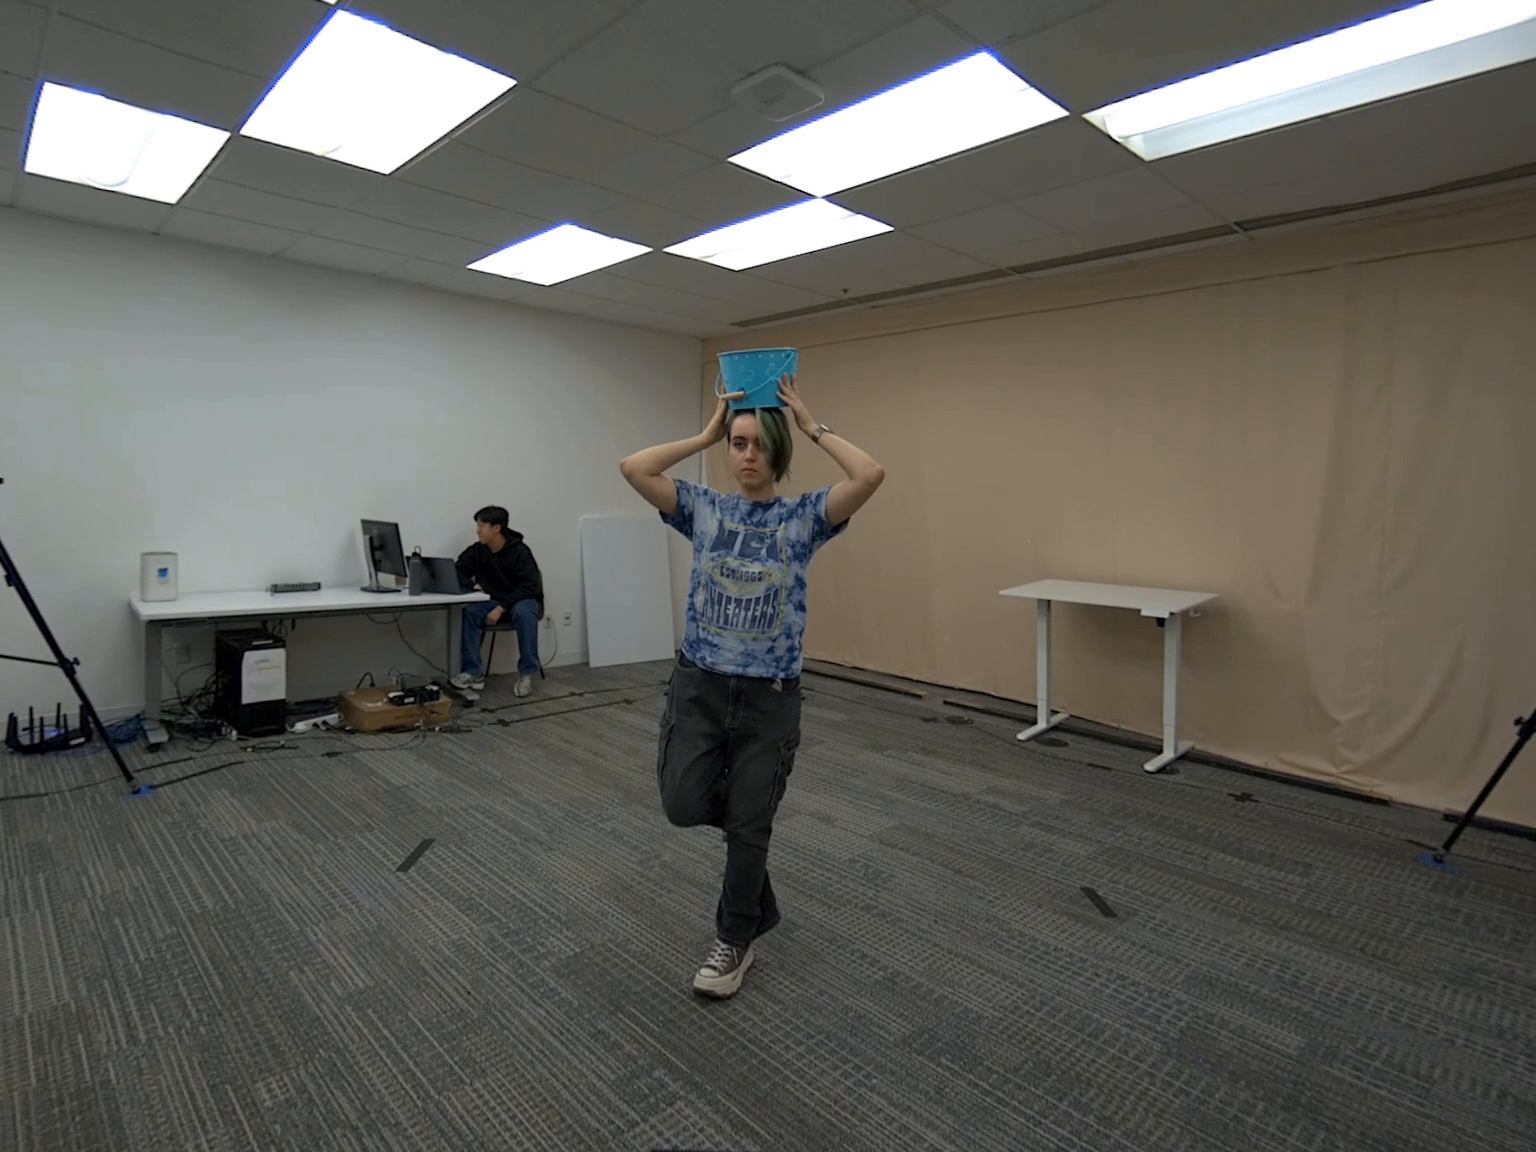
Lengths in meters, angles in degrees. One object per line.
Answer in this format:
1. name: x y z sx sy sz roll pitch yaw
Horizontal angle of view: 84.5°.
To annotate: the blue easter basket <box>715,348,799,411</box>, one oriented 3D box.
1. blue easter basket: -0.025 -0.541 2.337 0.243 0.155 0.245 -3 10 -1
